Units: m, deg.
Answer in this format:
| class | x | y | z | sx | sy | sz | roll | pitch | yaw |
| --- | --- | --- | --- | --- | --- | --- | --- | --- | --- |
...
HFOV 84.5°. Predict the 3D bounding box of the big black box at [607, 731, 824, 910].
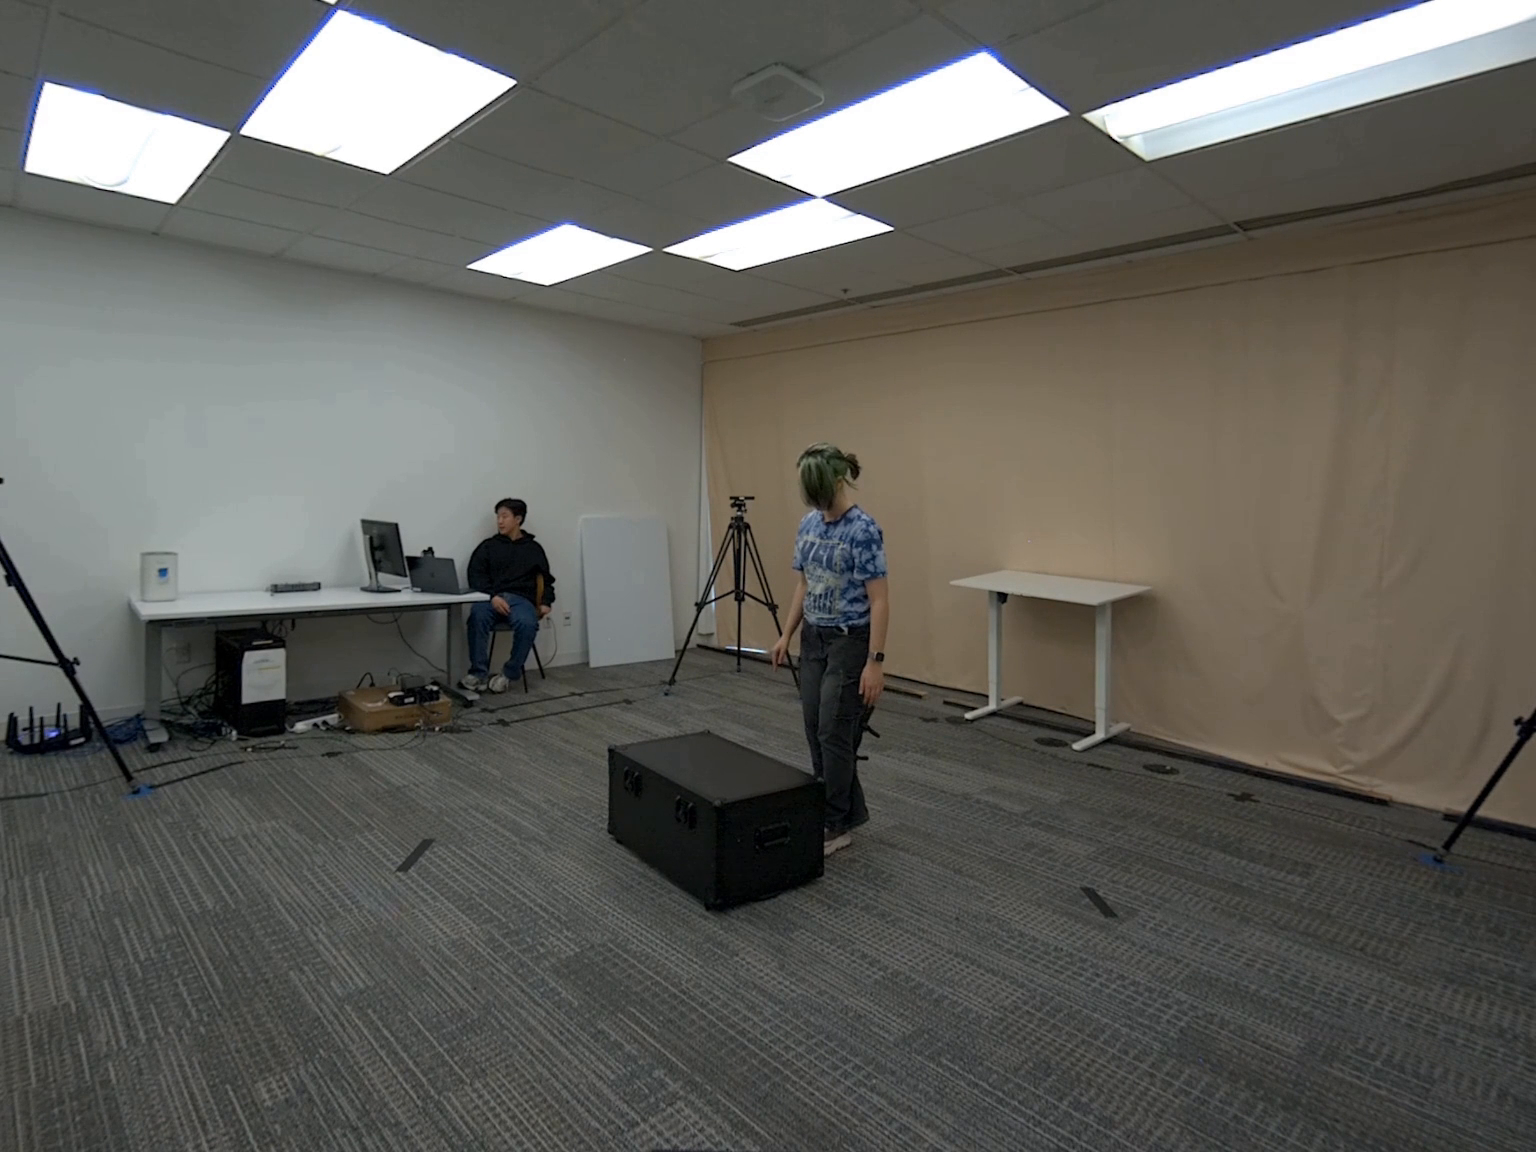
| class | x | y | z | sx | sy | sz | roll | pitch | yaw |
| --- | --- | --- | --- | --- | --- | --- | --- | --- | --- |
| big black box | -0.245 | 0.899 | 3.252 | 0.510 | 0.395 | 0.883 | -2 | 6 | -37 |
